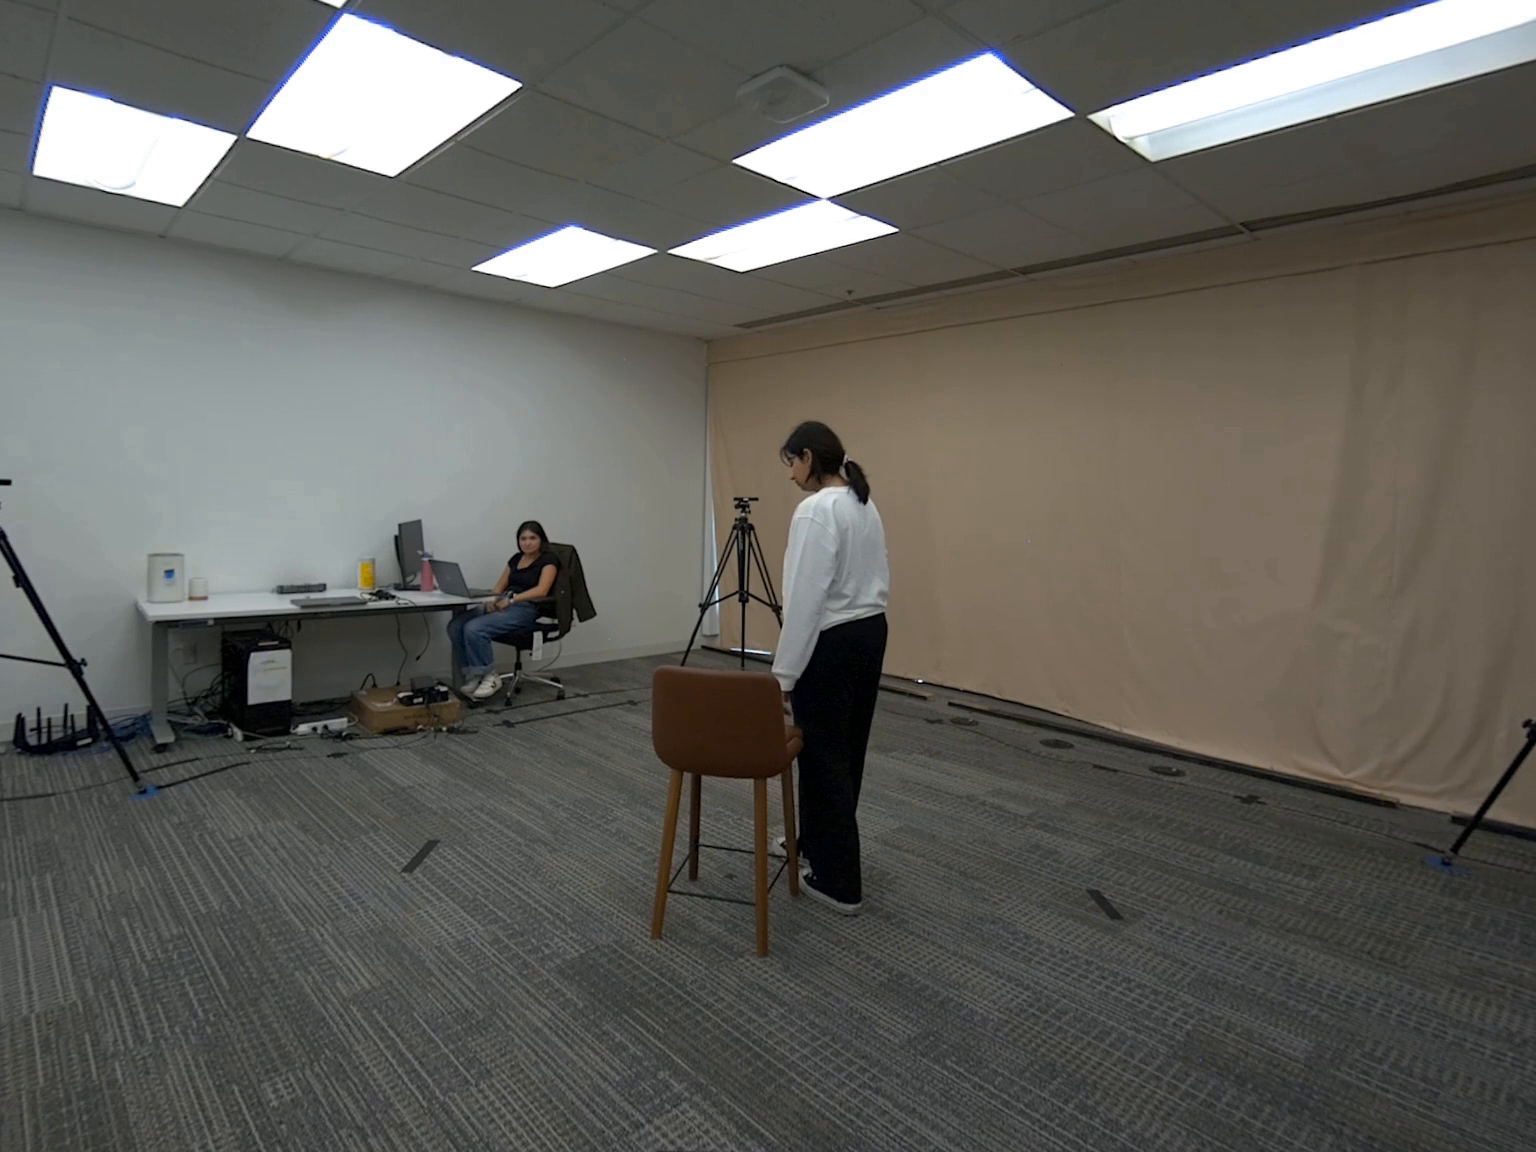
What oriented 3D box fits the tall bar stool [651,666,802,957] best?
[{"bbox_3d":[-0.137,0.702,2.786,0.462,0.886,0.463,2,5,16],"label":"tall bar stool"}]
